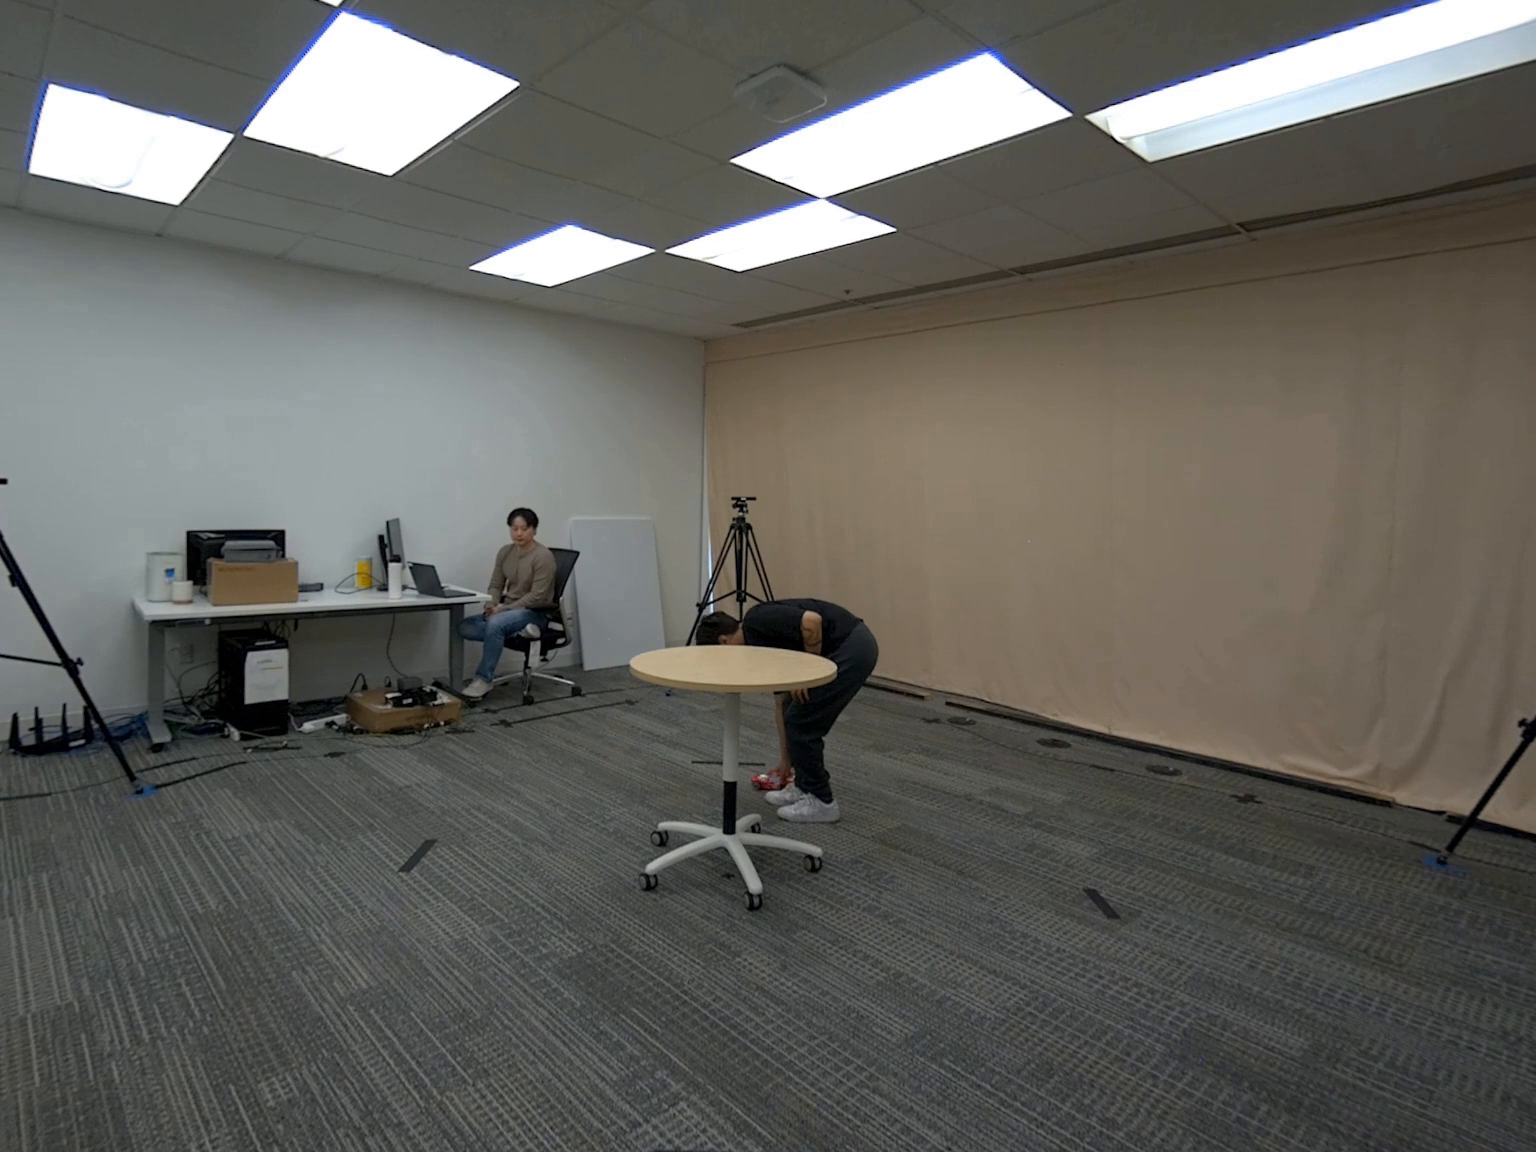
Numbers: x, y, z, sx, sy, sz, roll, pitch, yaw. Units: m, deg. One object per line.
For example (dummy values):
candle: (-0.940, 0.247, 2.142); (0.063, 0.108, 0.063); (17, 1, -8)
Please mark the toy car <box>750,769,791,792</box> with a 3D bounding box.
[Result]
toy car: (0.029, 0.997, 4.071); (0.257, 0.083, 0.129); (-6, 3, 16)
